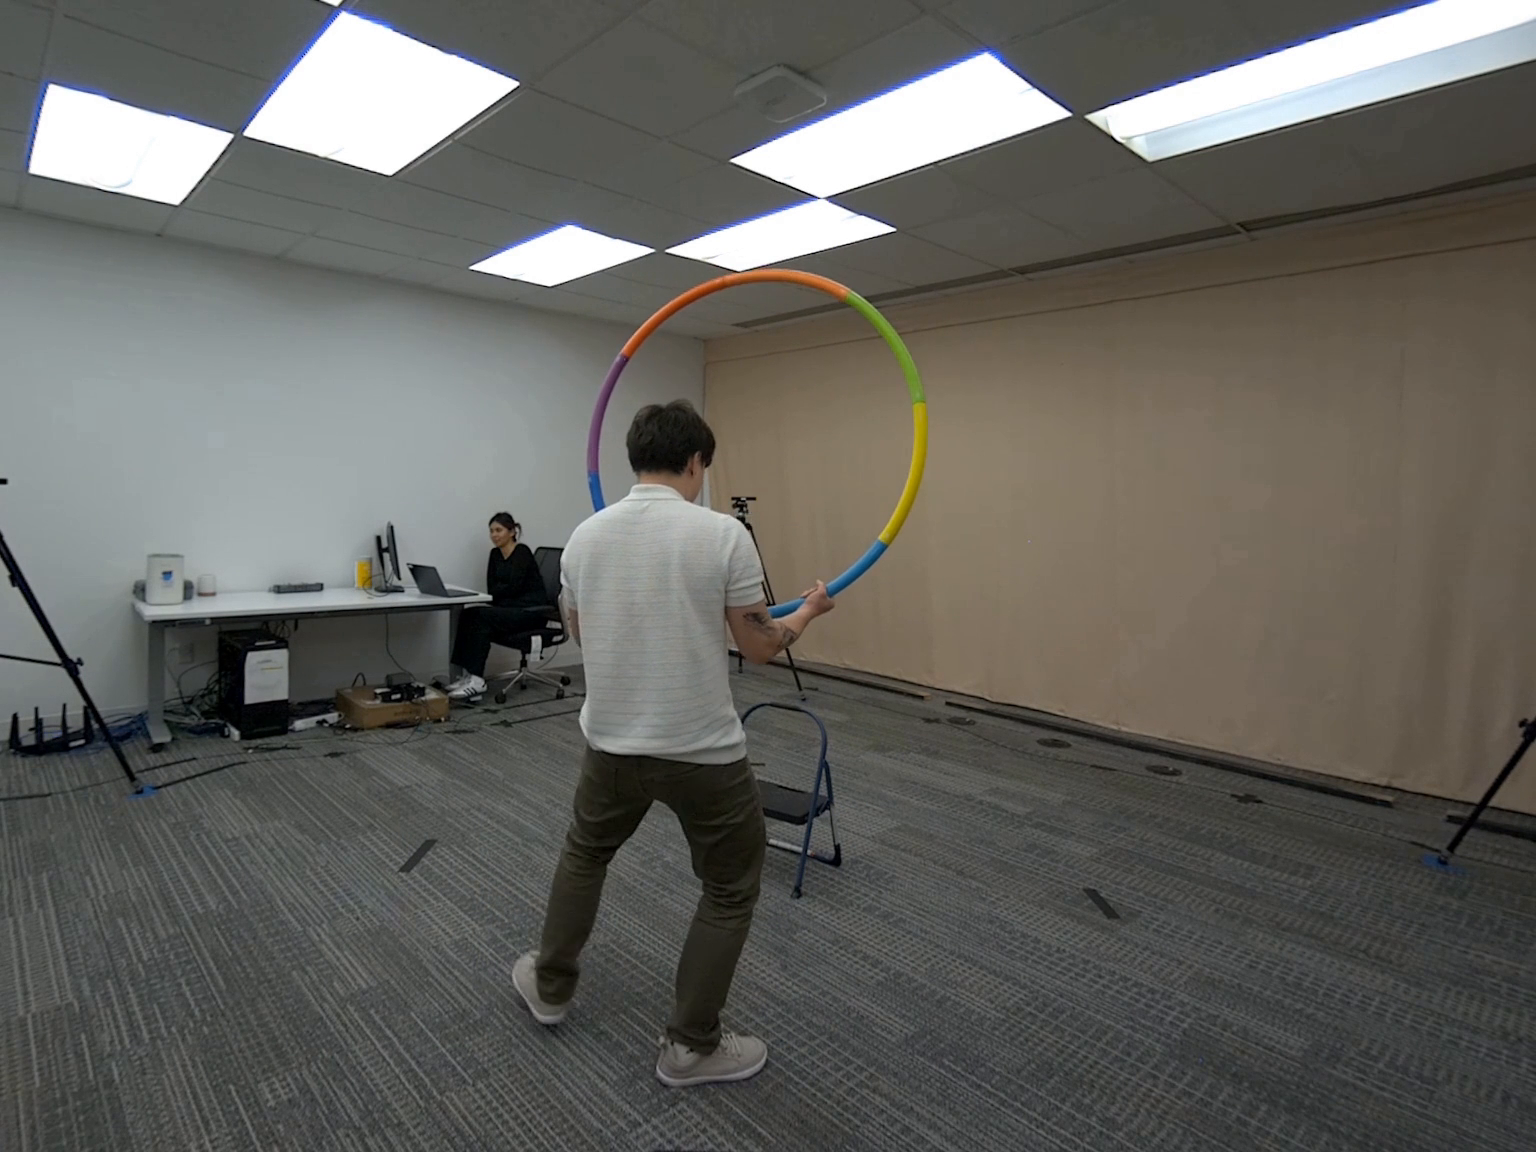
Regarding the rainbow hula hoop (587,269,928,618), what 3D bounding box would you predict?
[{"bbox_3d":[-0.077,-0.364,2.312,0.995,0.983,0.035,3,-7,22],"label":"rainbow hula hoop"}]
